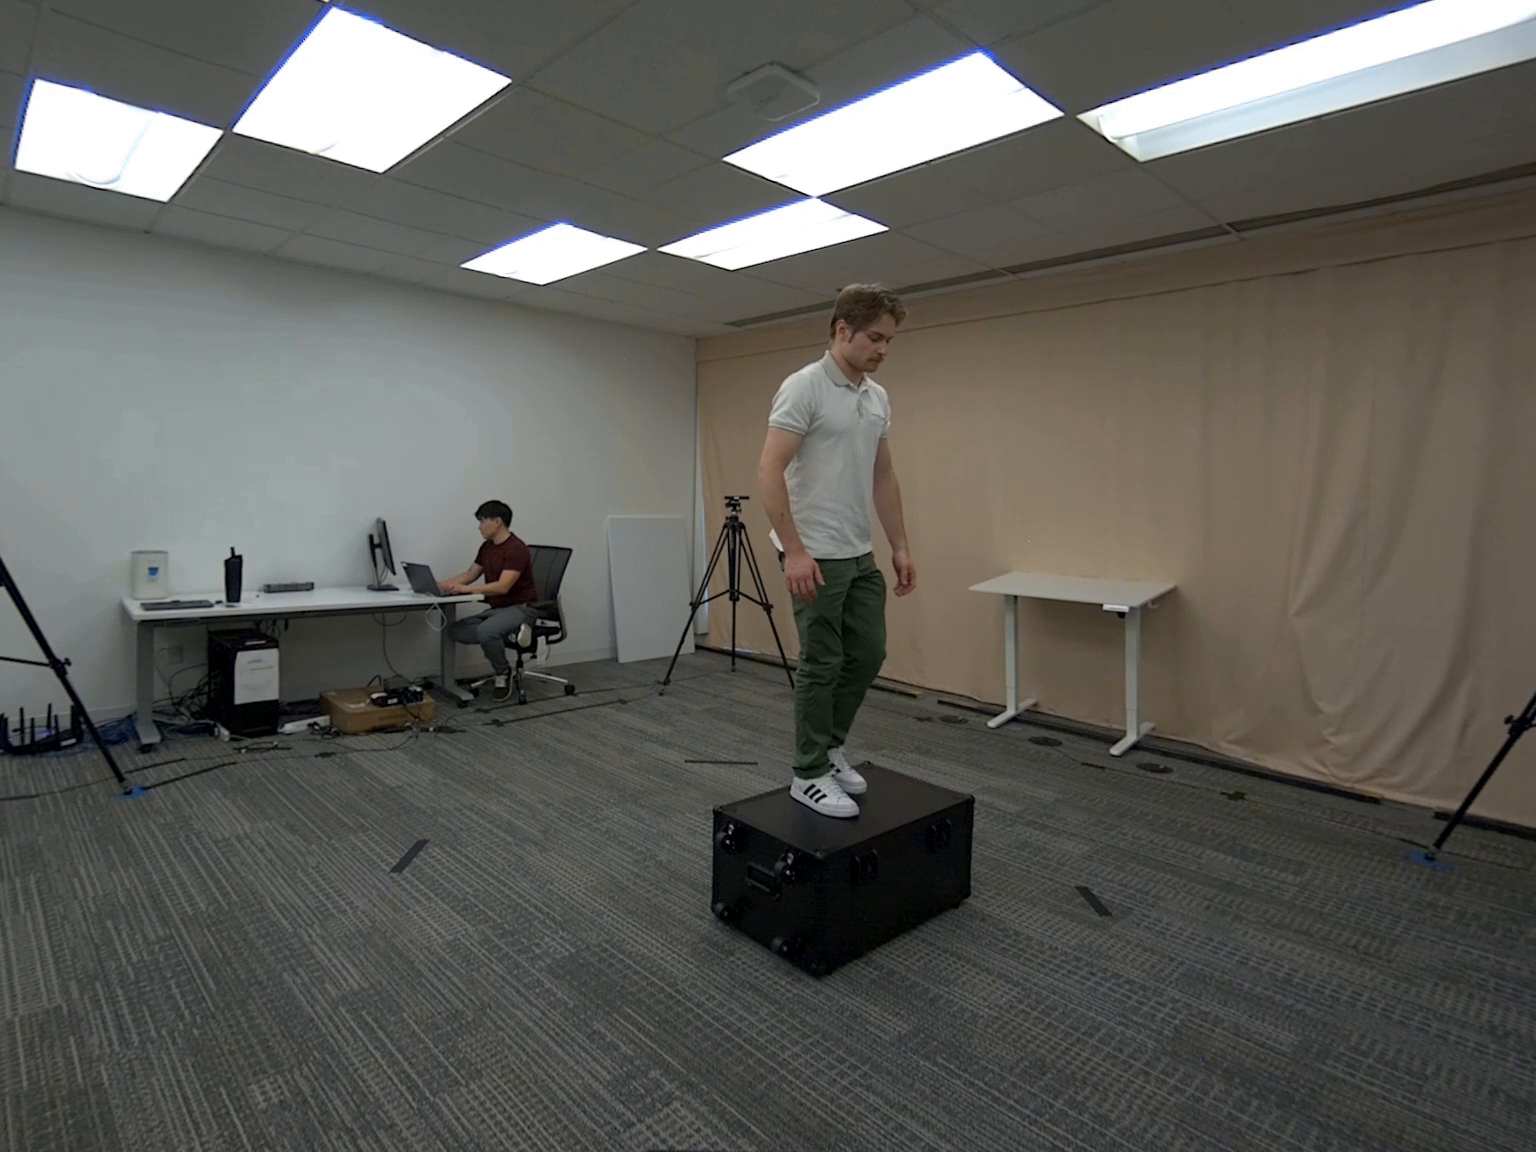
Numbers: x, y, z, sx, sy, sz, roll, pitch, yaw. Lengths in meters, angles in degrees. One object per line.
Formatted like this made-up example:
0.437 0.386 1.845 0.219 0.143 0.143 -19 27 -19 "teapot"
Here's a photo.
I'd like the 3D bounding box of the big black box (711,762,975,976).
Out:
0.233 0.950 2.825 0.841 0.395 0.535 -2 6 -43 "big black box"
